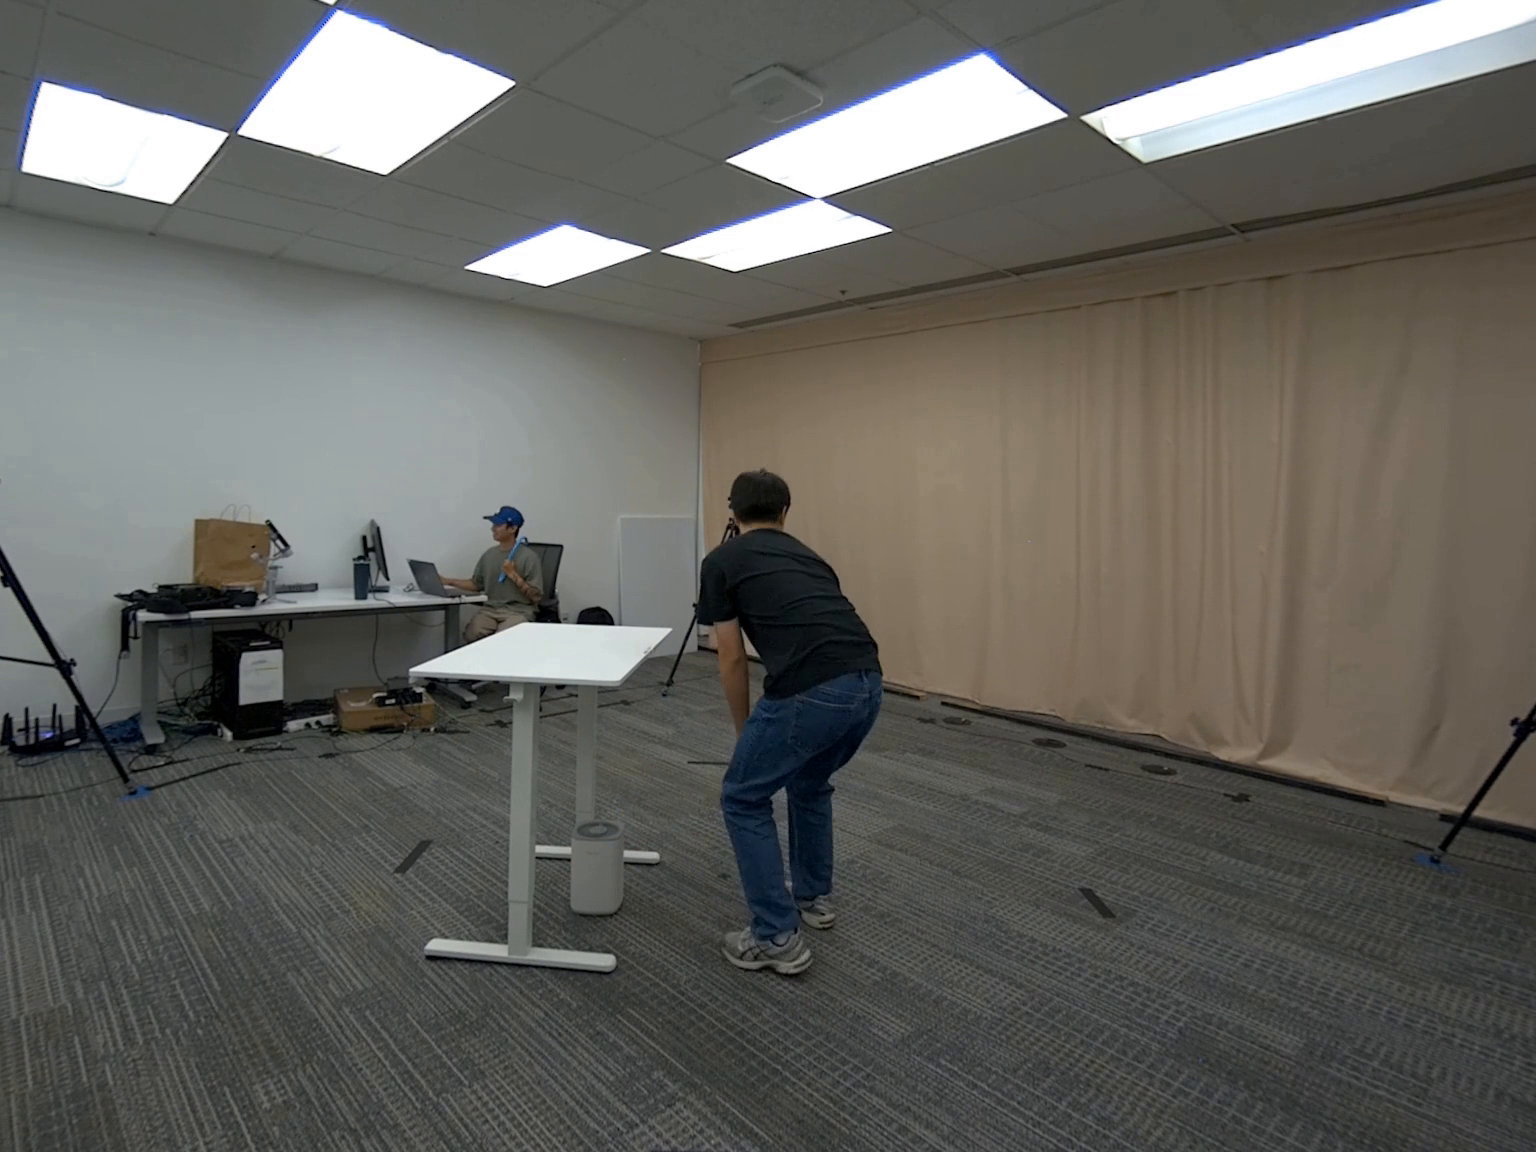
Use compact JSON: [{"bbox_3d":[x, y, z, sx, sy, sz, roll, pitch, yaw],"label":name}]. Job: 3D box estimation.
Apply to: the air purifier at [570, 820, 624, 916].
[{"bbox_3d":[-0.574,0.981,2.851,0.171,0.265,0.172,1,4,-1],"label":"air purifier"}]
